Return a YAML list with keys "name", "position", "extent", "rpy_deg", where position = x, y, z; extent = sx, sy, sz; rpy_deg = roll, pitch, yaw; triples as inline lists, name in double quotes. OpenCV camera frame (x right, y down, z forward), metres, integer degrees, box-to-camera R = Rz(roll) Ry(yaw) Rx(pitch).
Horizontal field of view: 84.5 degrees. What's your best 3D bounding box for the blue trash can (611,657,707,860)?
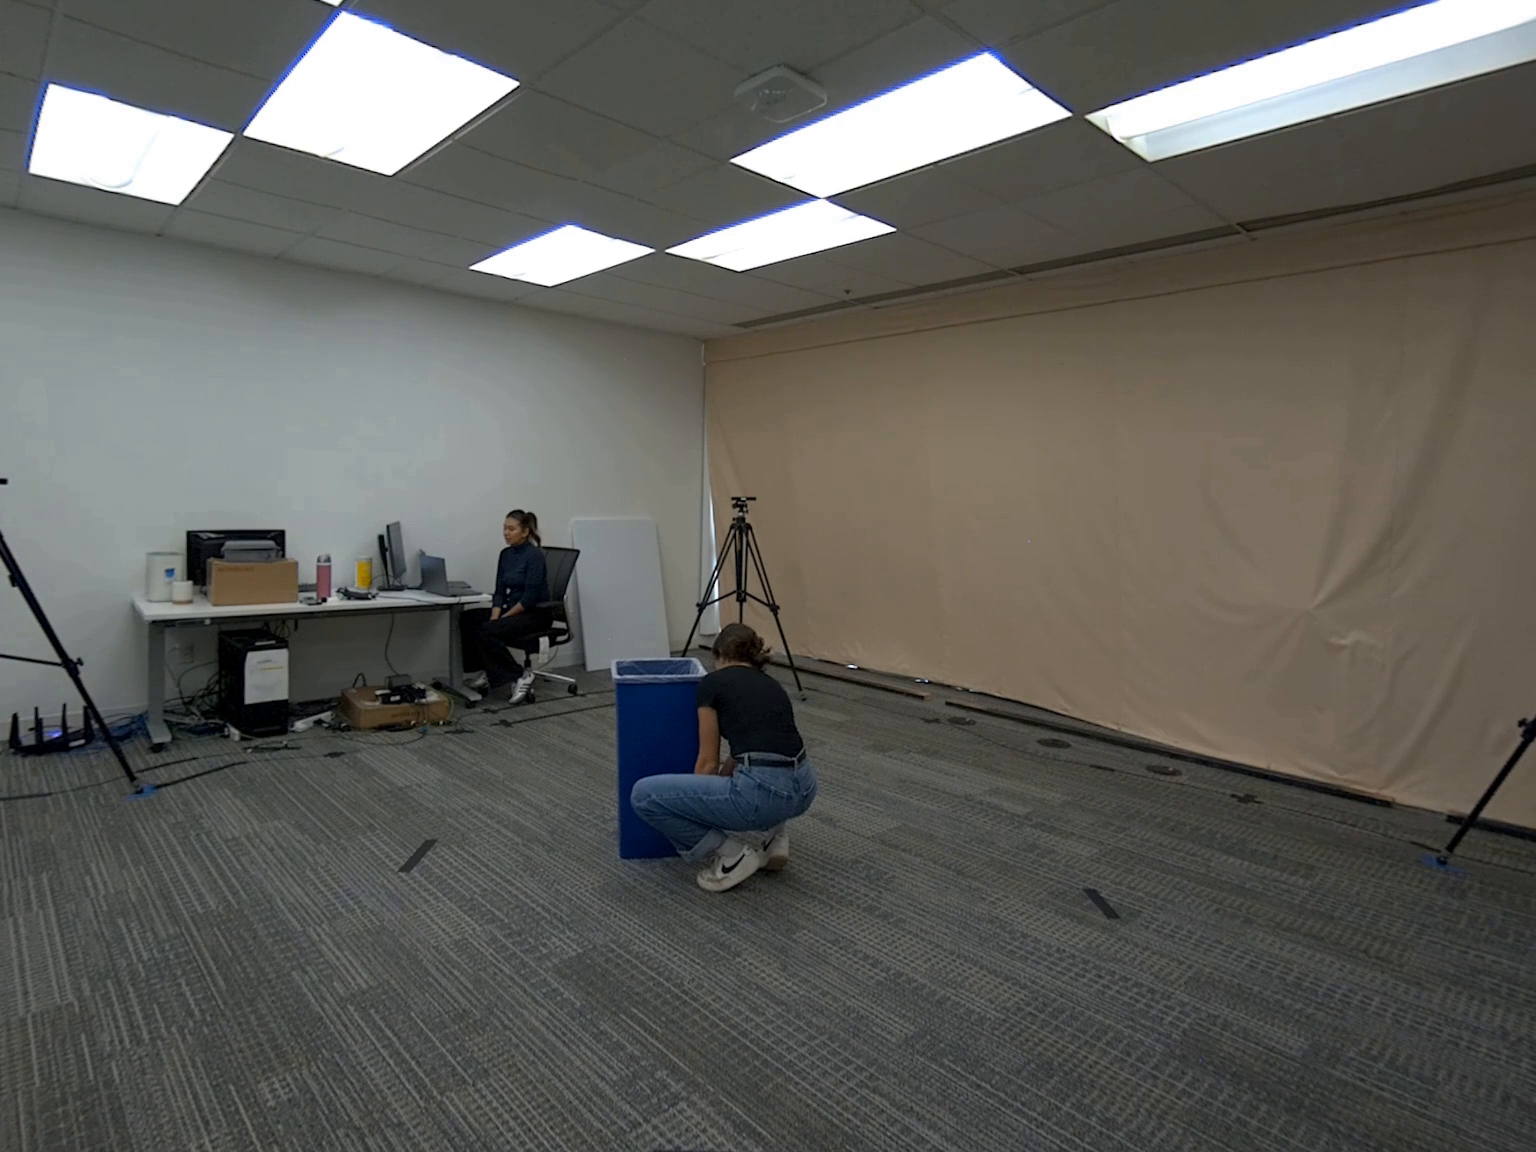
- name: "blue trash can"
  position: [-0.454, 0.718, 3.382]
  extent: [0.371, 0.712, 0.381]
  rpy_deg: [1, 2, -10]
